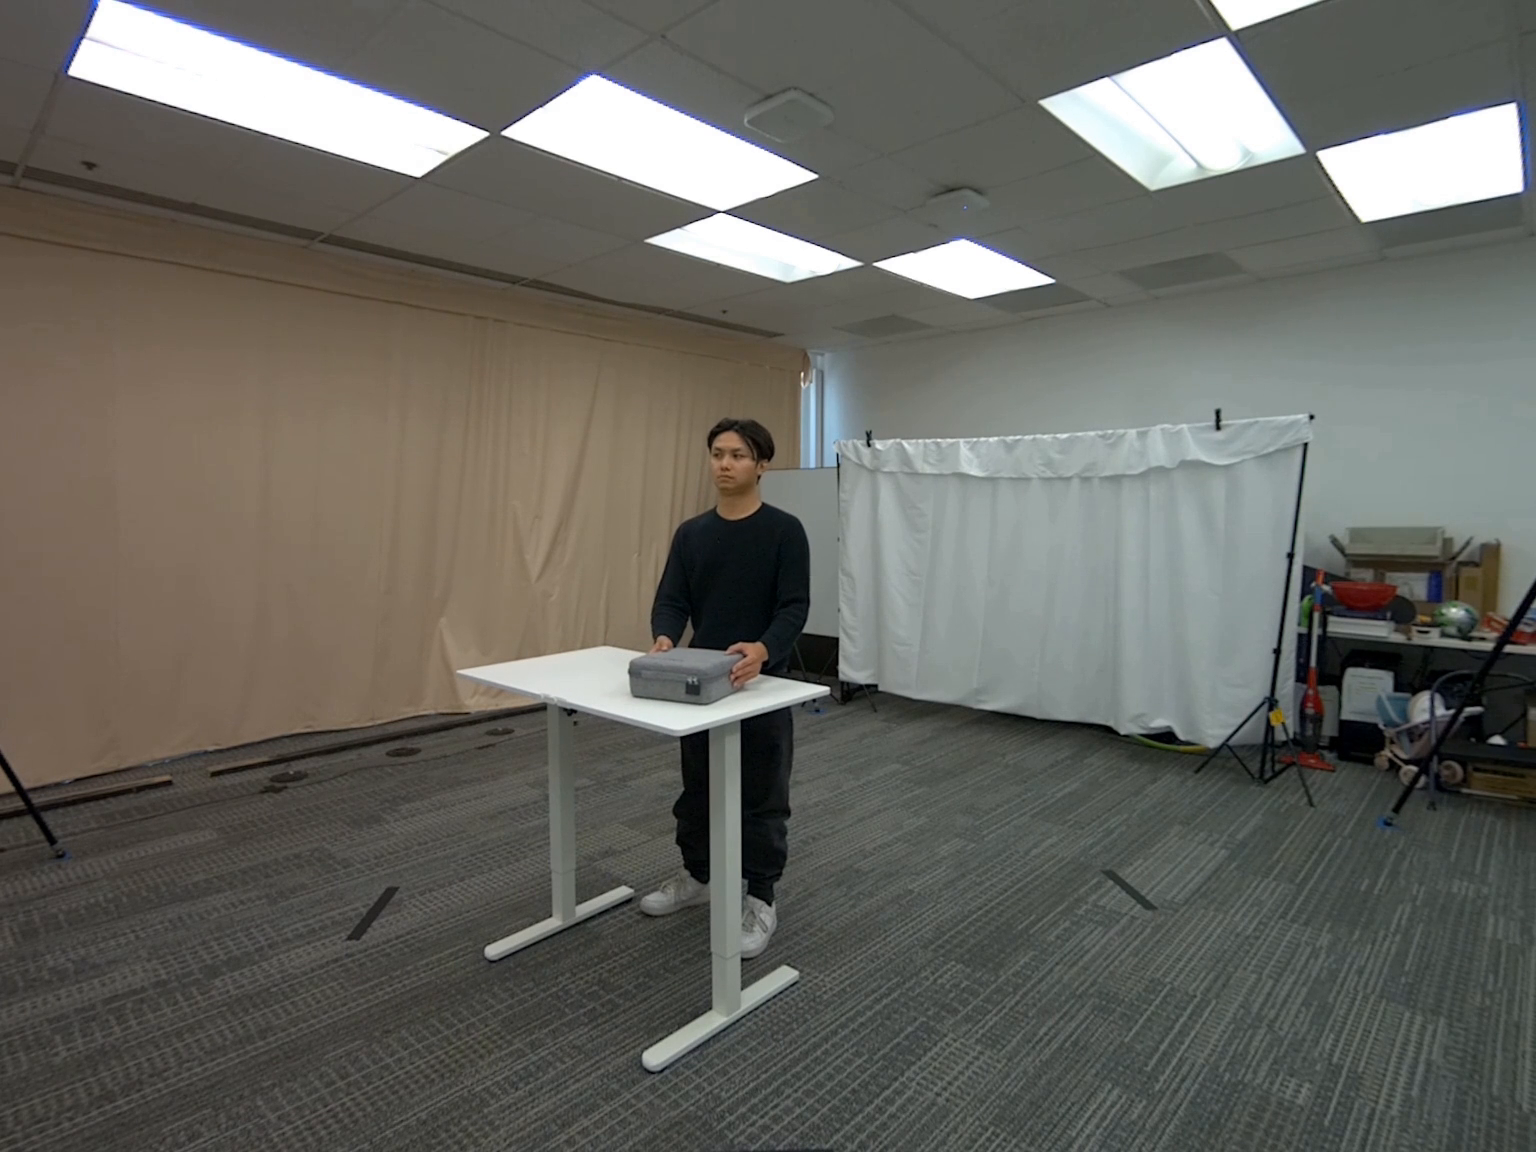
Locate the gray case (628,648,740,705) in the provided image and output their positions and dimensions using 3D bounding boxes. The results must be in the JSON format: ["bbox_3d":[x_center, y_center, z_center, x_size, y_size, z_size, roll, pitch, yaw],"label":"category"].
[{"bbox_3d":[-0.229,0.268,2.314,0.264,0.104,0.254,1,5,26],"label":"gray case"}]
